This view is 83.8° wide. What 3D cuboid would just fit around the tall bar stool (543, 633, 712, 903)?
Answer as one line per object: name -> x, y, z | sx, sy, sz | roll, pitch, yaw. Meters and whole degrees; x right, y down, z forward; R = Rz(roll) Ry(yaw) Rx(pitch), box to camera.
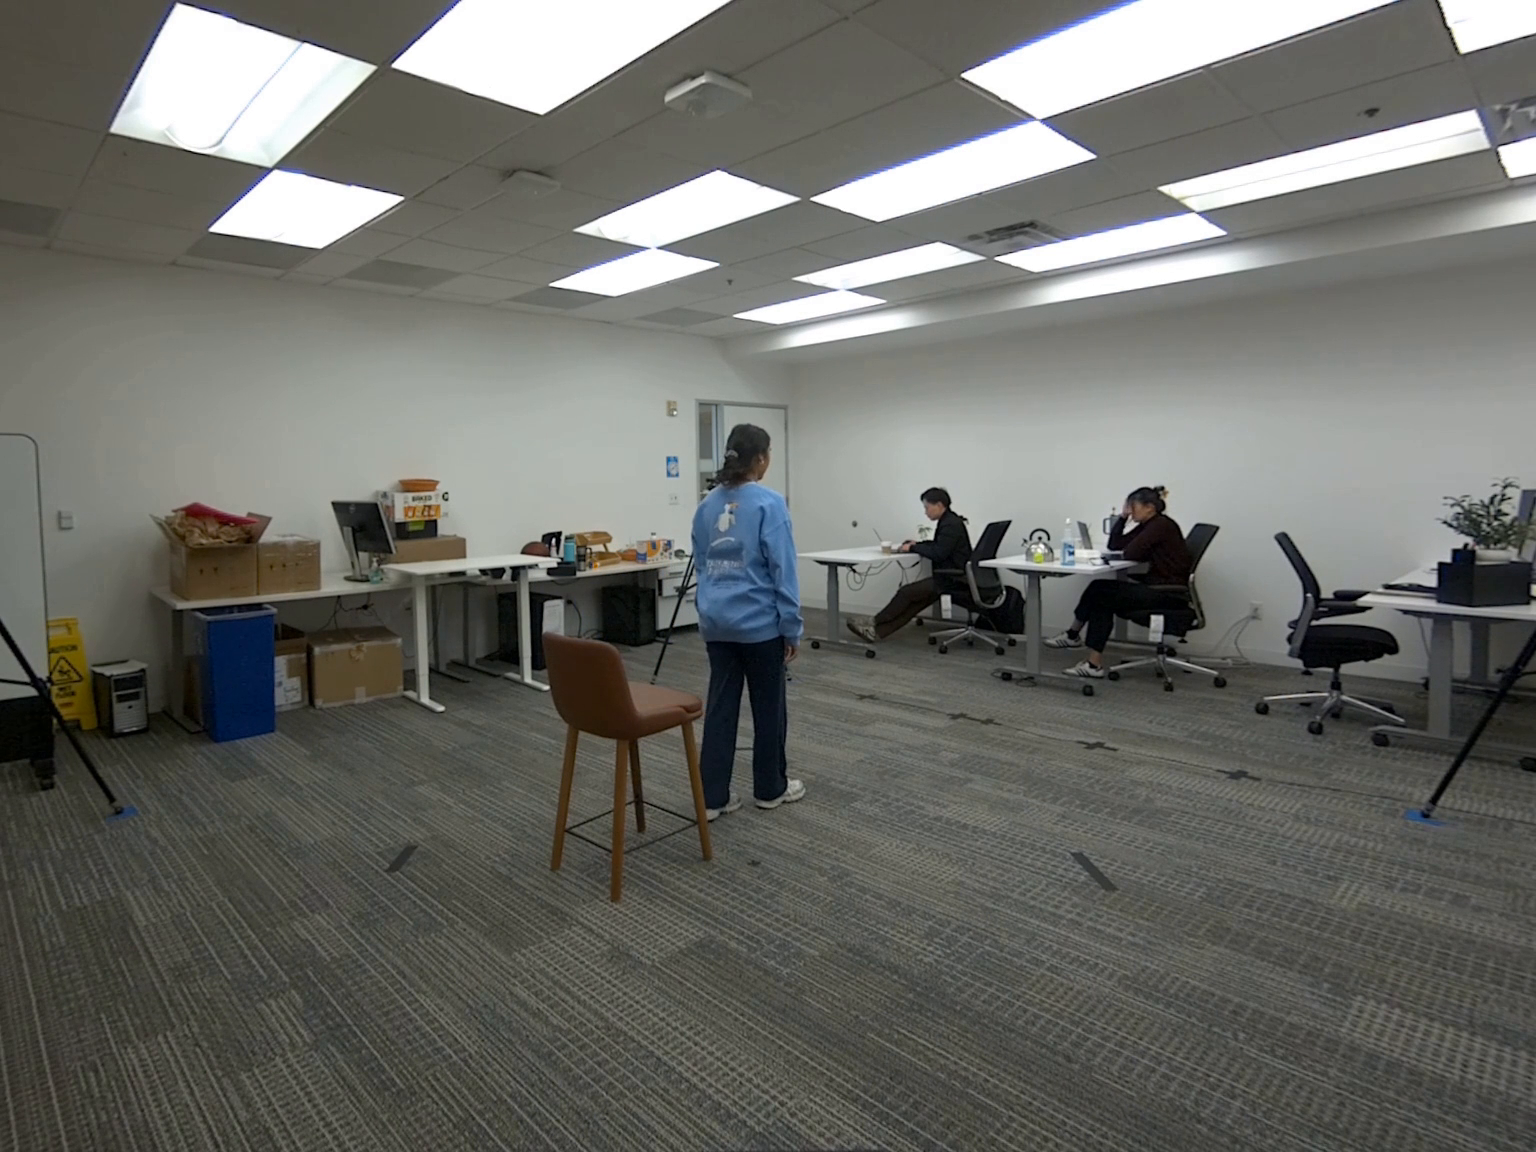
tall bar stool -> -0.516, 0.618, 3.091 | 0.470, 0.885, 0.456 | 3, 8, 43
